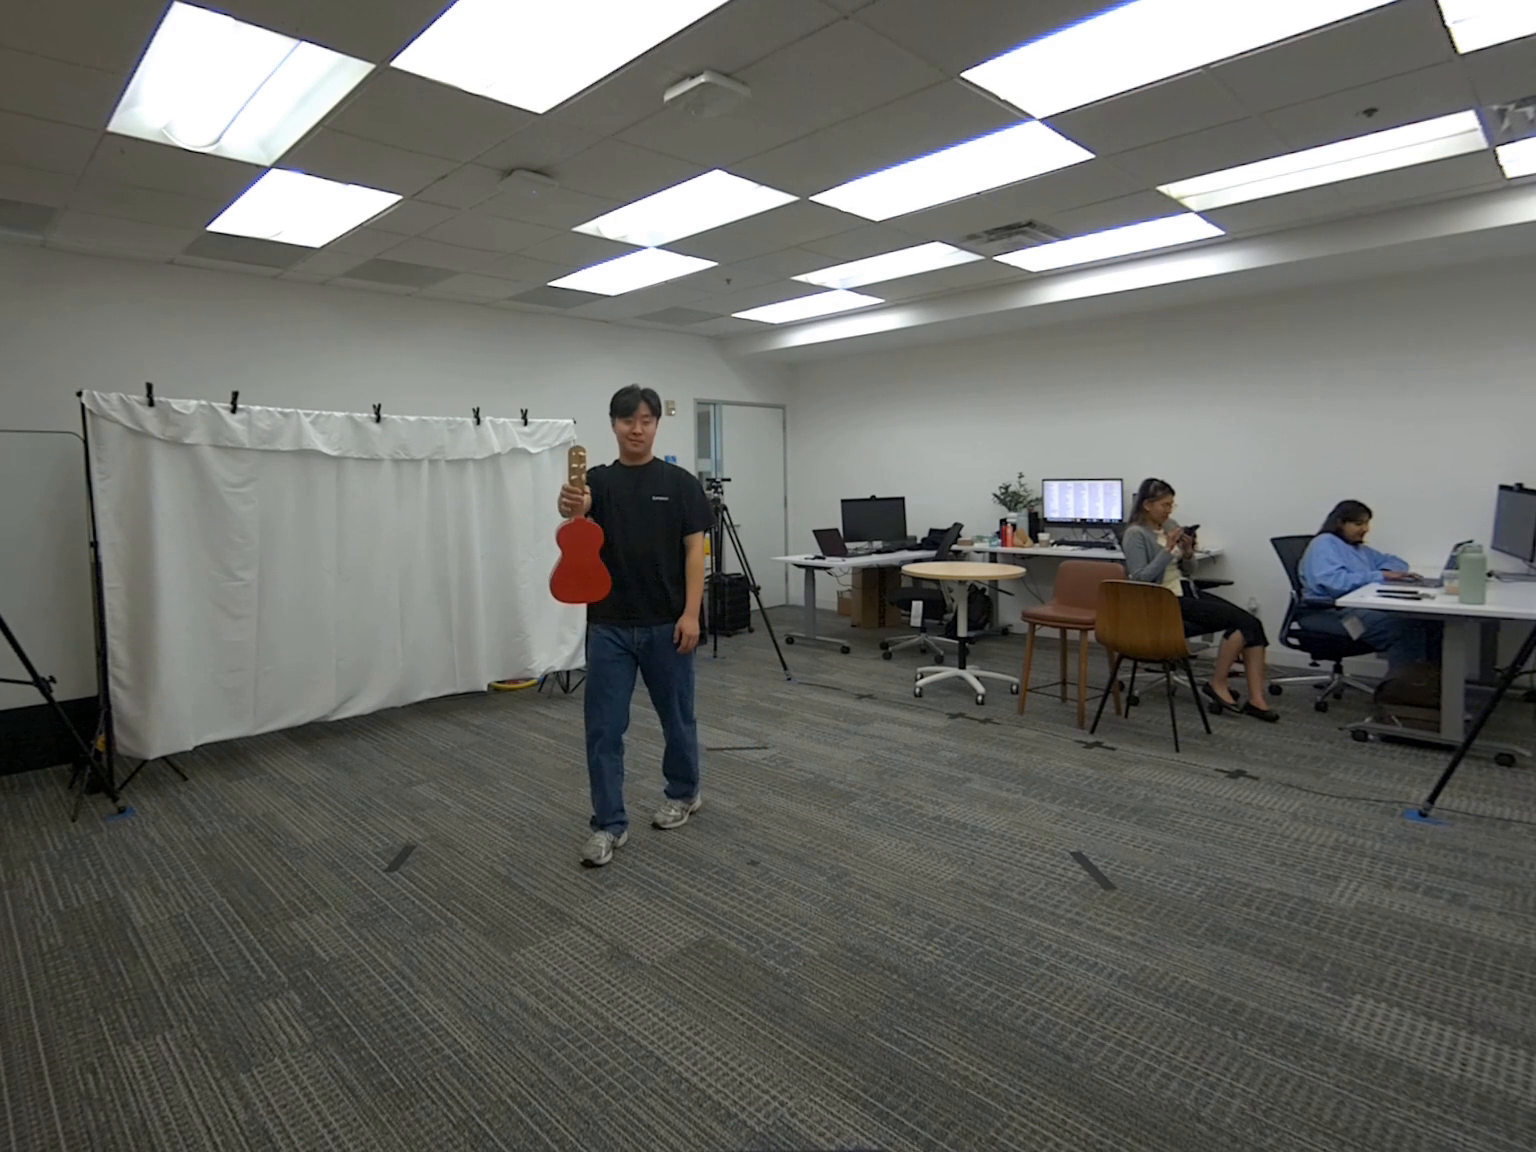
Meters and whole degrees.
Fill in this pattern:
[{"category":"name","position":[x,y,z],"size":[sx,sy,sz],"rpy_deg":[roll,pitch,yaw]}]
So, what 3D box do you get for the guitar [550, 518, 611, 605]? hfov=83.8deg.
[{"category":"guitar","position":[-0.634,-0.156,2.717],"size":[0.191,0.492,0.072],"rpy_deg":[-11,12,-13]}]
